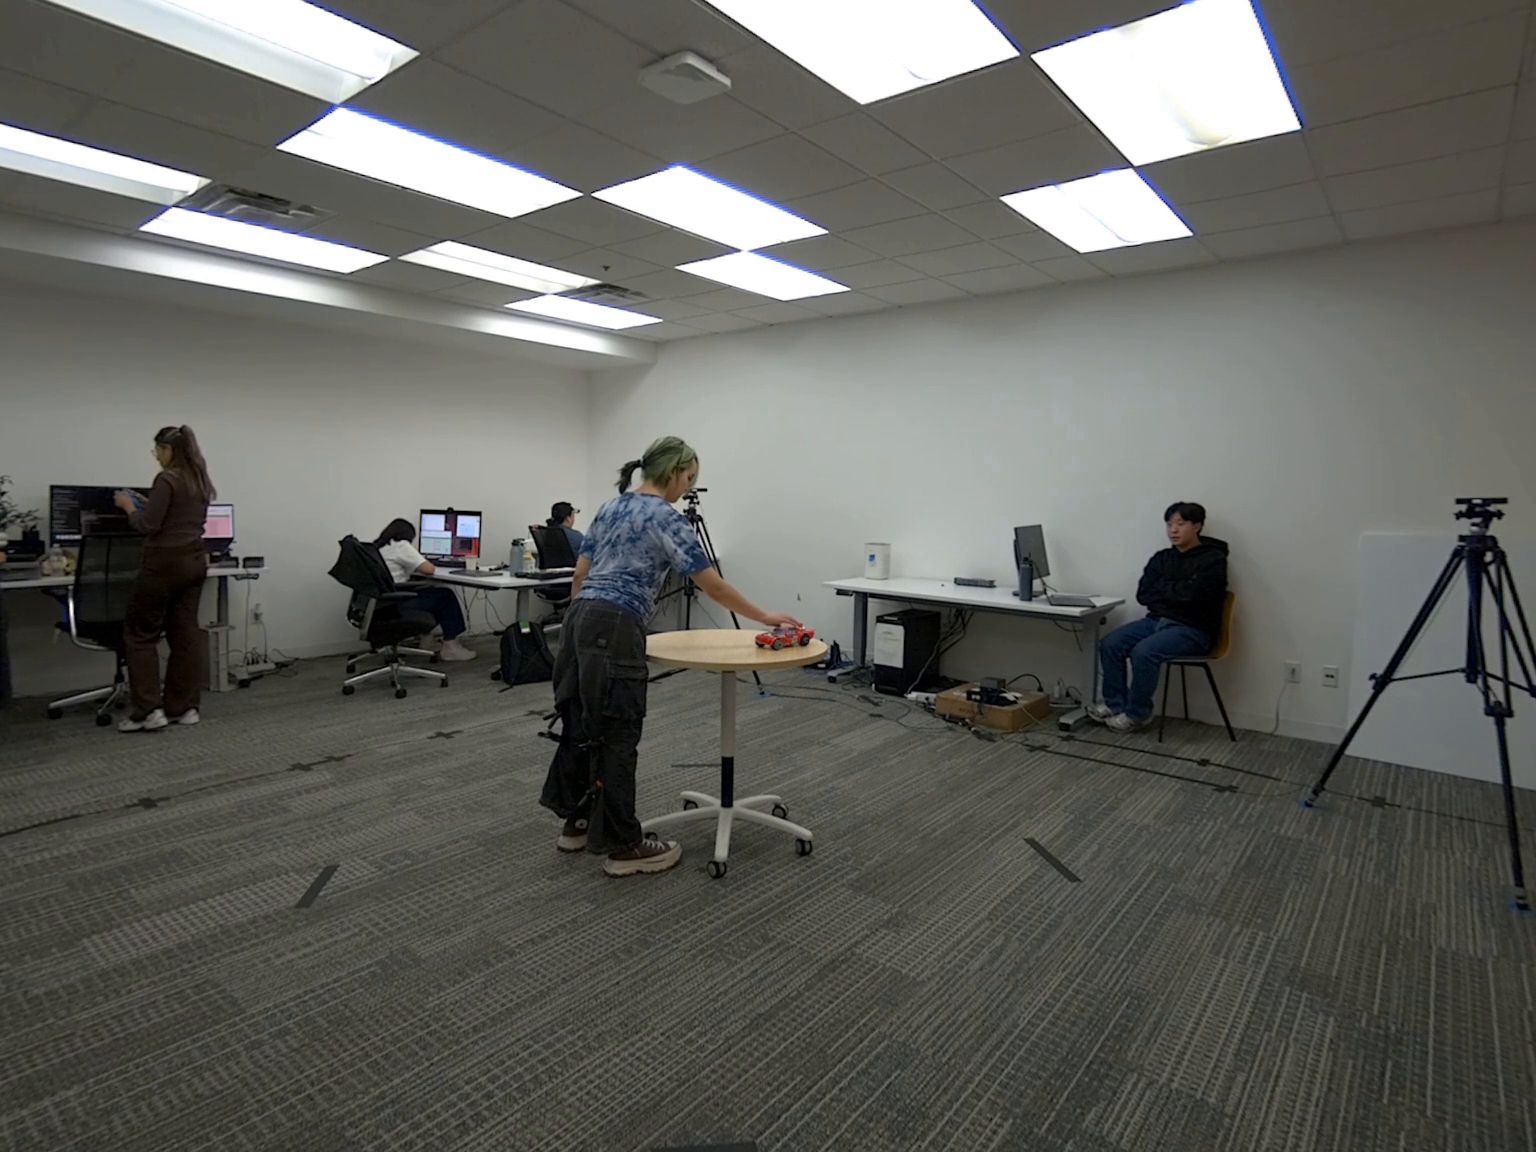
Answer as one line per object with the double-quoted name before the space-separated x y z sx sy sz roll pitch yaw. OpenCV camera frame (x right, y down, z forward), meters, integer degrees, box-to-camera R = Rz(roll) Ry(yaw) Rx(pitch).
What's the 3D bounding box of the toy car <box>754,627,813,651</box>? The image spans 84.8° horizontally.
"toy car" 0.064 0.240 3.322 0.249 0.082 0.134 -18 15 -38
